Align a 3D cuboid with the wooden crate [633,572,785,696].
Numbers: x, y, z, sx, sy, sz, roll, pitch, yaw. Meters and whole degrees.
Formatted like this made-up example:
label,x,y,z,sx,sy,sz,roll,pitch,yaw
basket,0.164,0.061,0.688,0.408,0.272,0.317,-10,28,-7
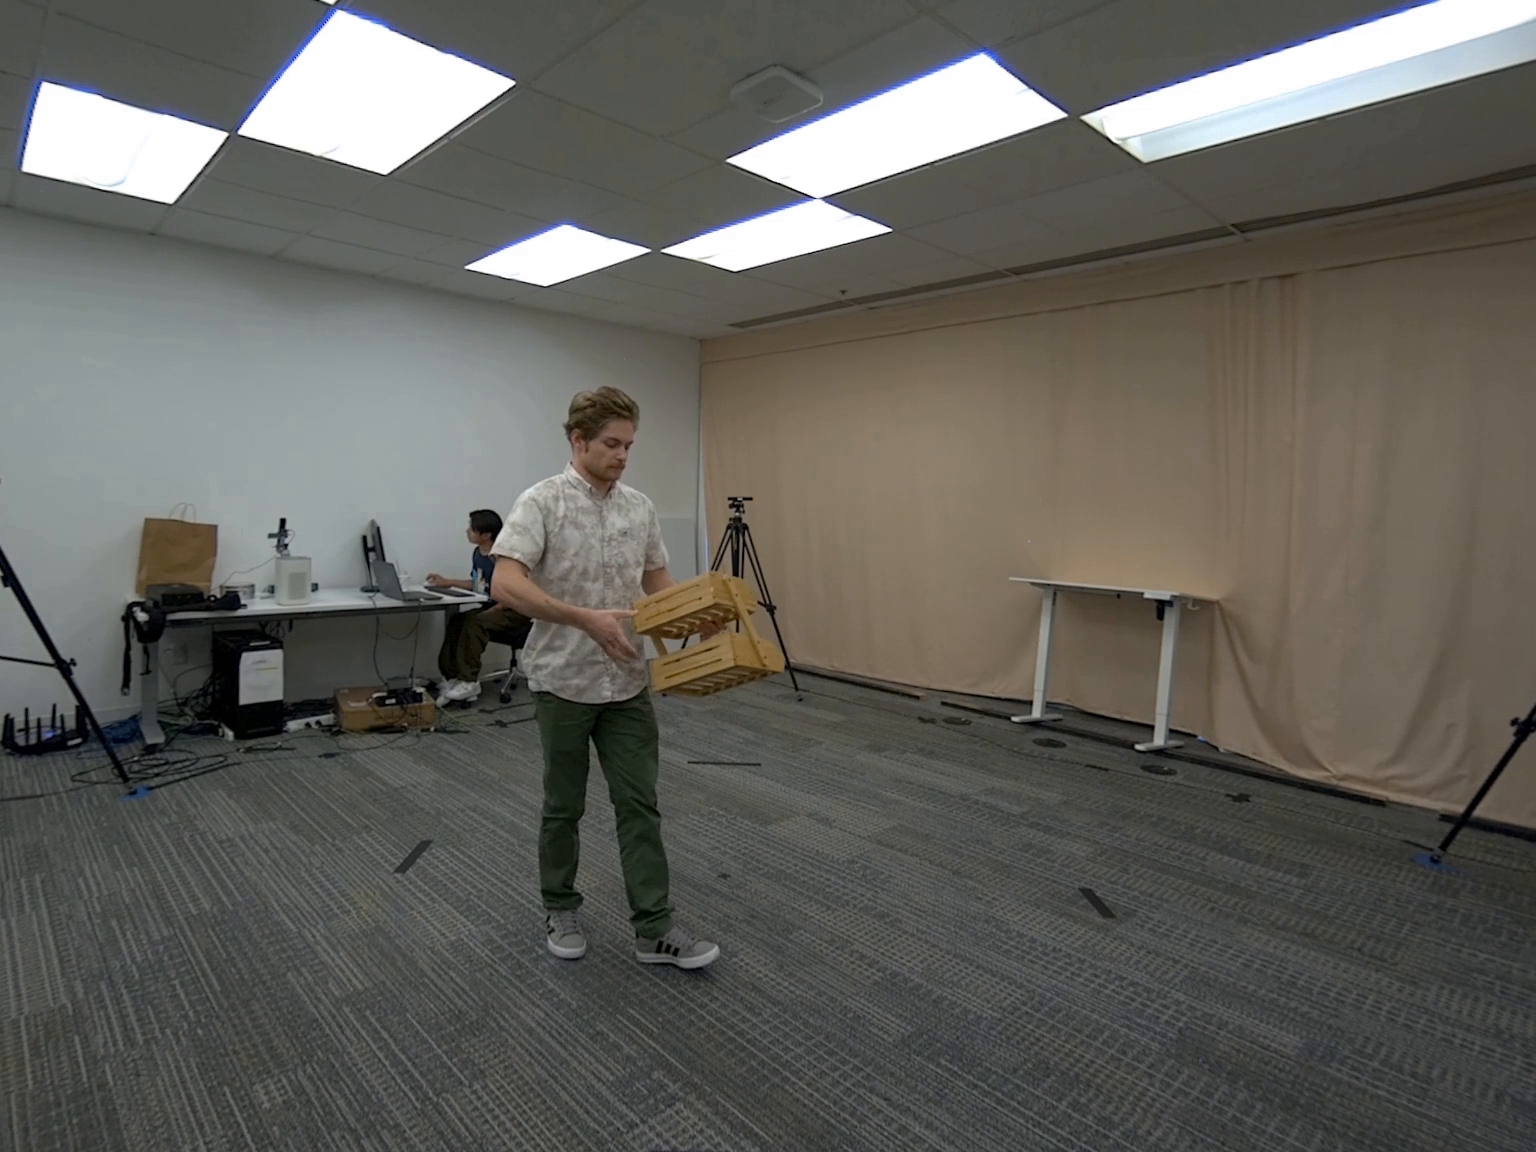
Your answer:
label,x,y,z,sx,sy,sz,roll,pitch,yaw
wooden crate,-0.177,0.175,2.424,0.328,0.278,0.293,-22,-23,31
